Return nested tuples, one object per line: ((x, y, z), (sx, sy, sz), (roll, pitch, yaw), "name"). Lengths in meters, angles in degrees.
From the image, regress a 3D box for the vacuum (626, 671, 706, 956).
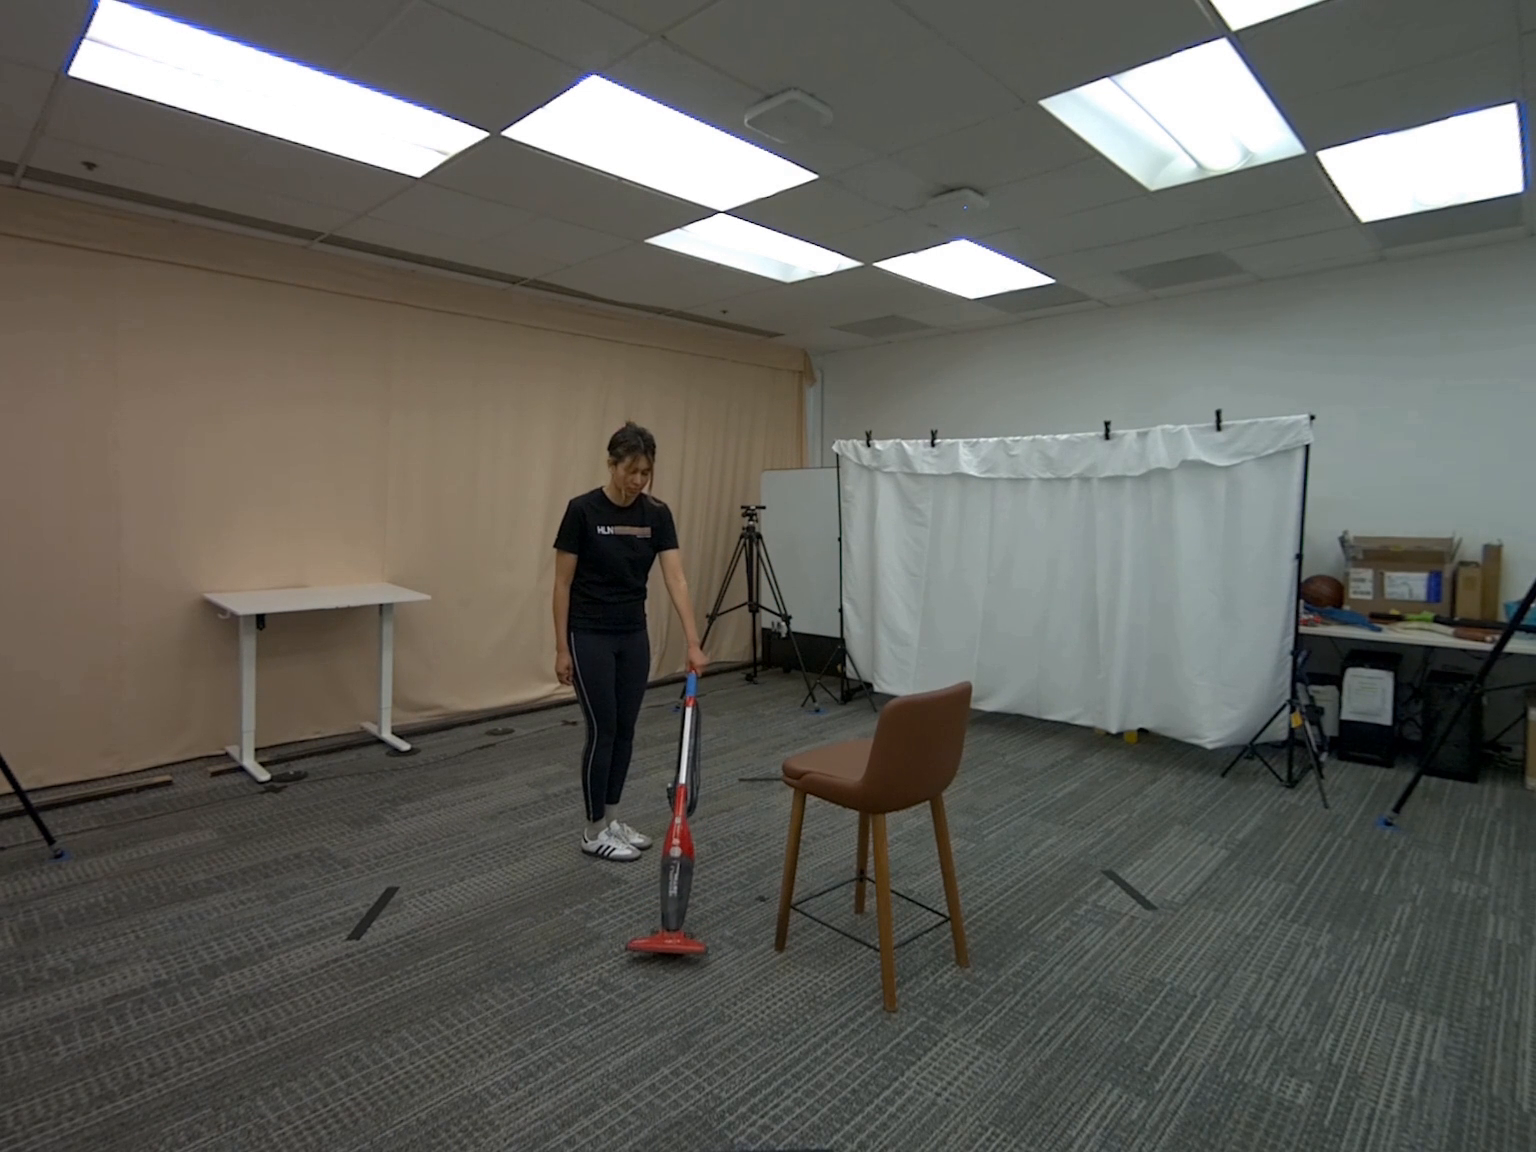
((-0.282, 0.743, 2.942), (0.254, 1.066, 0.141), (-1, -40, 5), "vacuum")
